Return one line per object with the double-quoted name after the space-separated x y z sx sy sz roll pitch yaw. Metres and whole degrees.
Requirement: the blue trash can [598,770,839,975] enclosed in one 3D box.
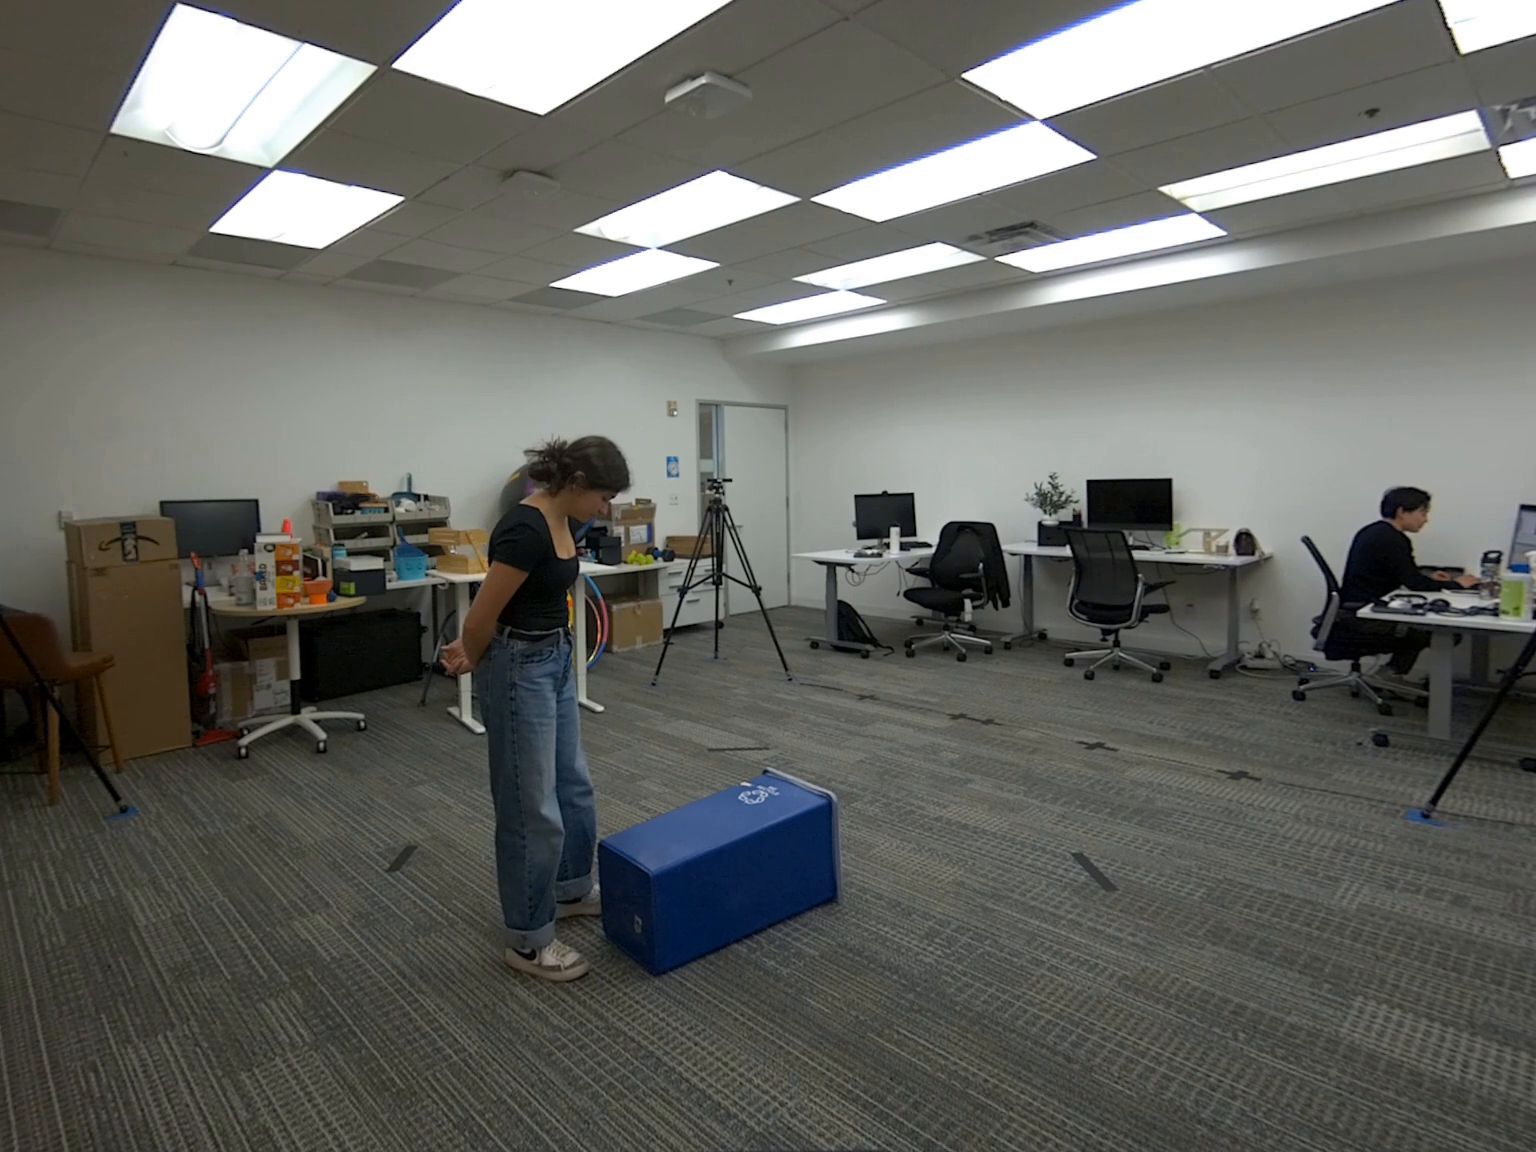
-0.143 0.926 2.720 0.697 0.375 0.385 -10 10 -39 "blue trash can"
